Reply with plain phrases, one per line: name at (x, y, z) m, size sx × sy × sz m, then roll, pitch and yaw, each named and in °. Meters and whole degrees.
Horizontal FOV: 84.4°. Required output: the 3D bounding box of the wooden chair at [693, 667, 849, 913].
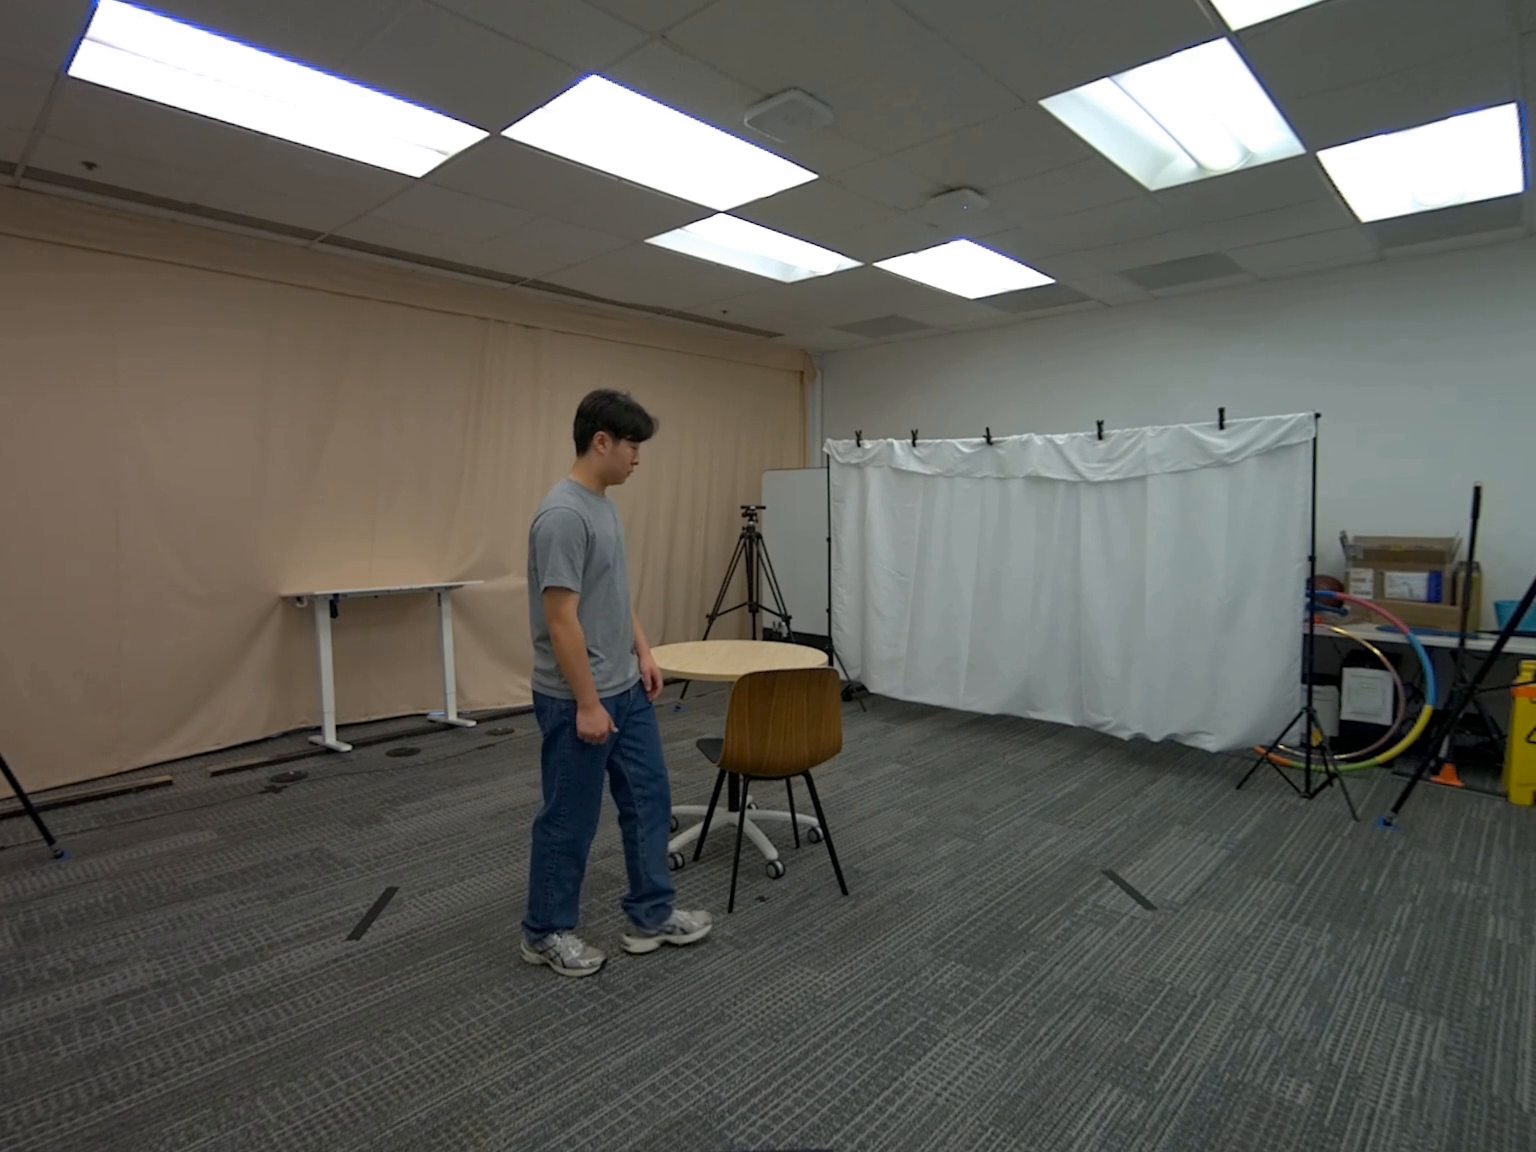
wooden chair at (-0.005, 0.702, 3.126) m, size 0.469 × 0.873 × 0.536 m, roll -1°, pitch 8°, yaw -20°
